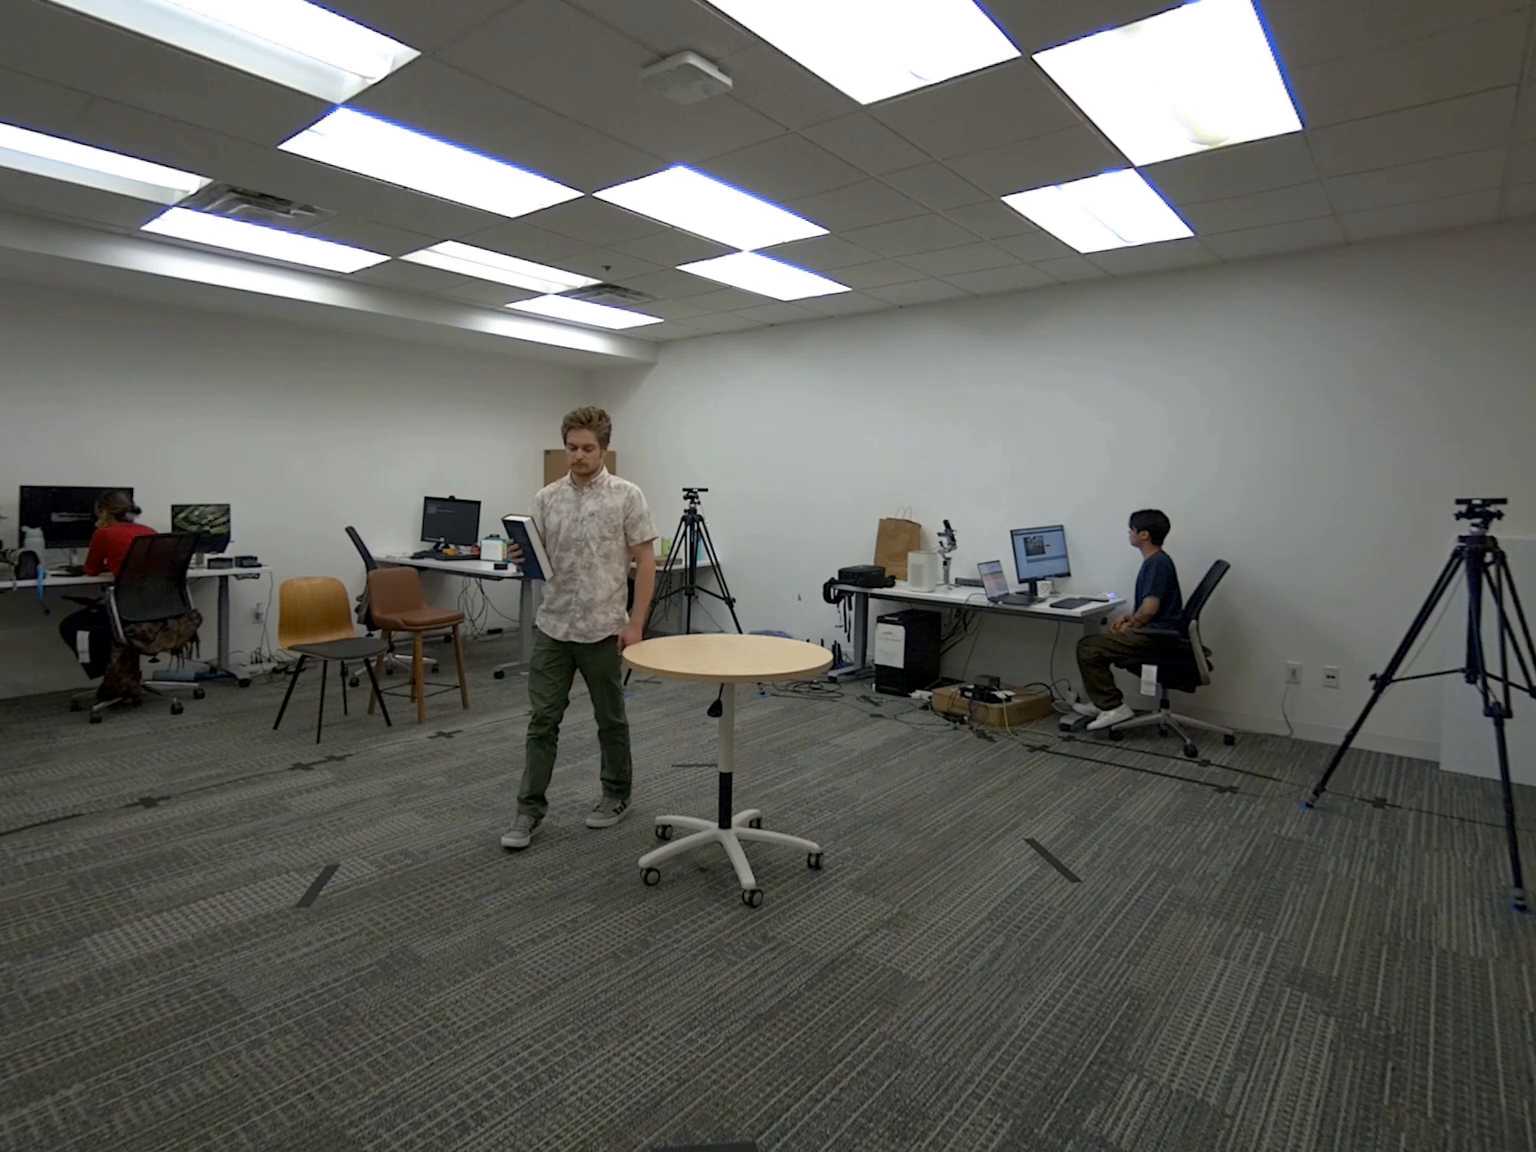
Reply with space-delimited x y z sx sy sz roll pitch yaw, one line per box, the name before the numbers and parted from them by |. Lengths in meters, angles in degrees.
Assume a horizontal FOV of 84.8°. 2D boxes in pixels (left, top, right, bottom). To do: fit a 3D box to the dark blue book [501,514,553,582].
dark blue book | -0.910 -0.113 3.150 0.169 0.239 0.045 7 30 45
